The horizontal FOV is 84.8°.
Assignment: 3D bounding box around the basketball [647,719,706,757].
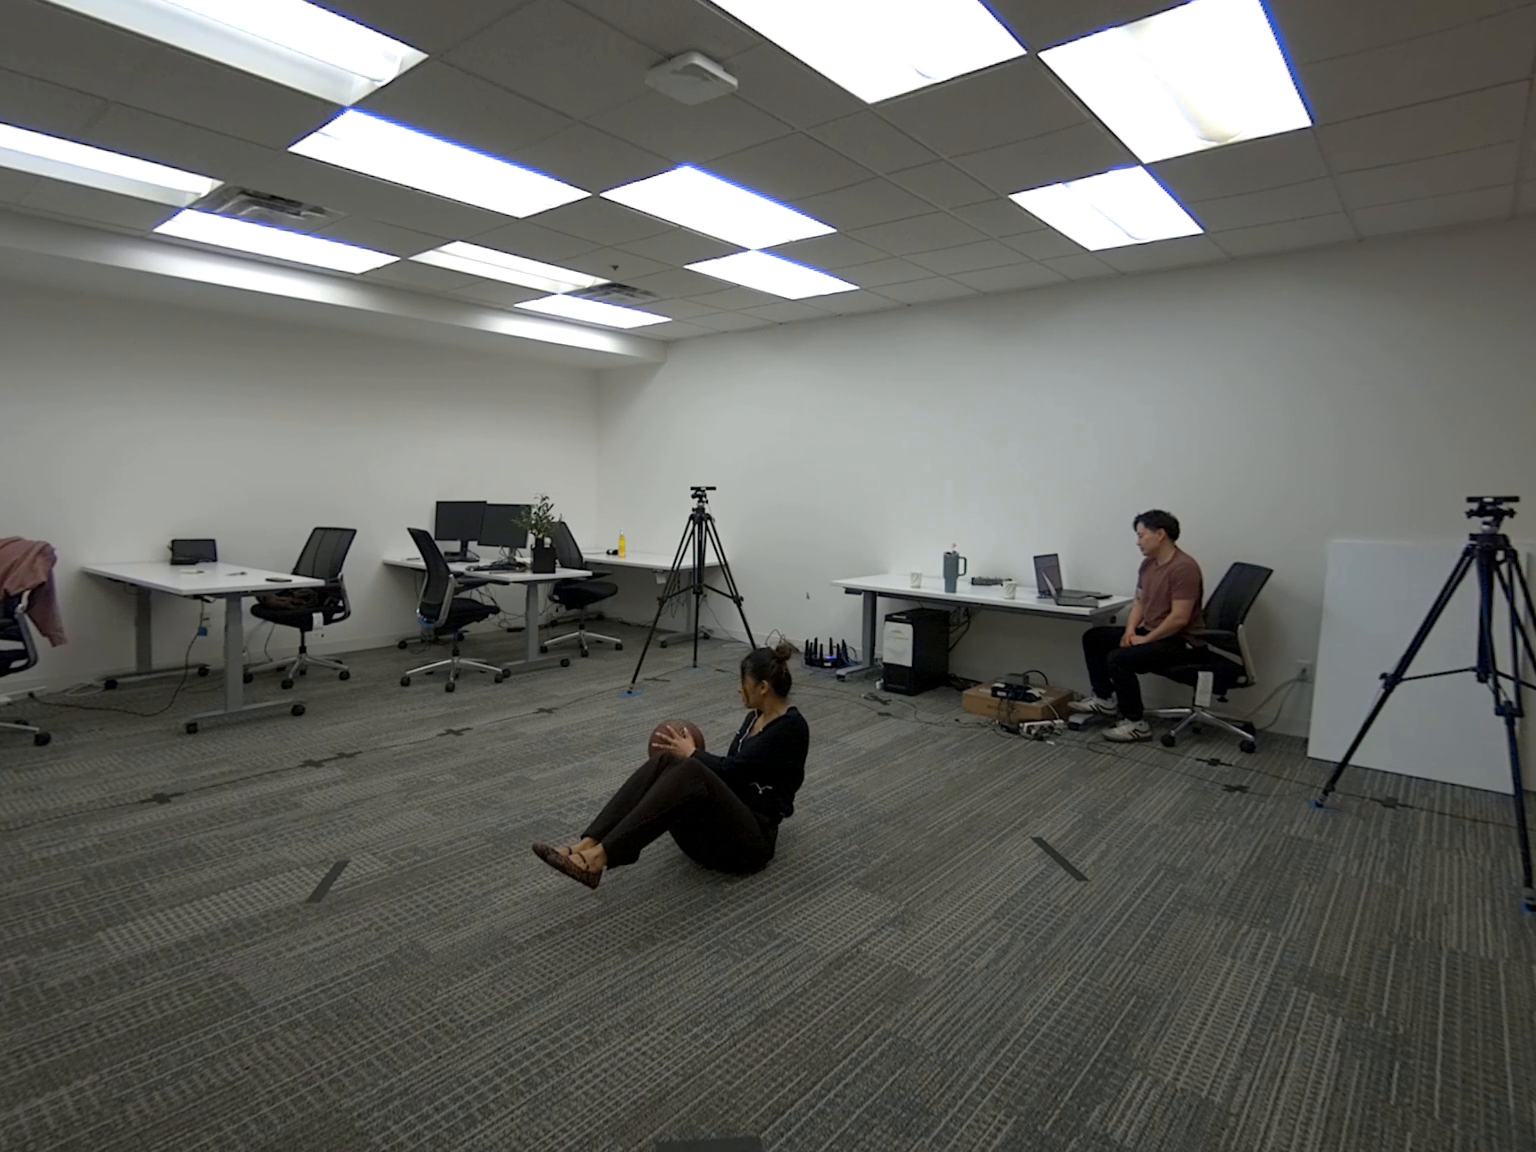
[{"bbox_3d":[-0.381,0.697,3.486,0.235,0.235,0.237,1,4,-2],"label":"basketball"}]
